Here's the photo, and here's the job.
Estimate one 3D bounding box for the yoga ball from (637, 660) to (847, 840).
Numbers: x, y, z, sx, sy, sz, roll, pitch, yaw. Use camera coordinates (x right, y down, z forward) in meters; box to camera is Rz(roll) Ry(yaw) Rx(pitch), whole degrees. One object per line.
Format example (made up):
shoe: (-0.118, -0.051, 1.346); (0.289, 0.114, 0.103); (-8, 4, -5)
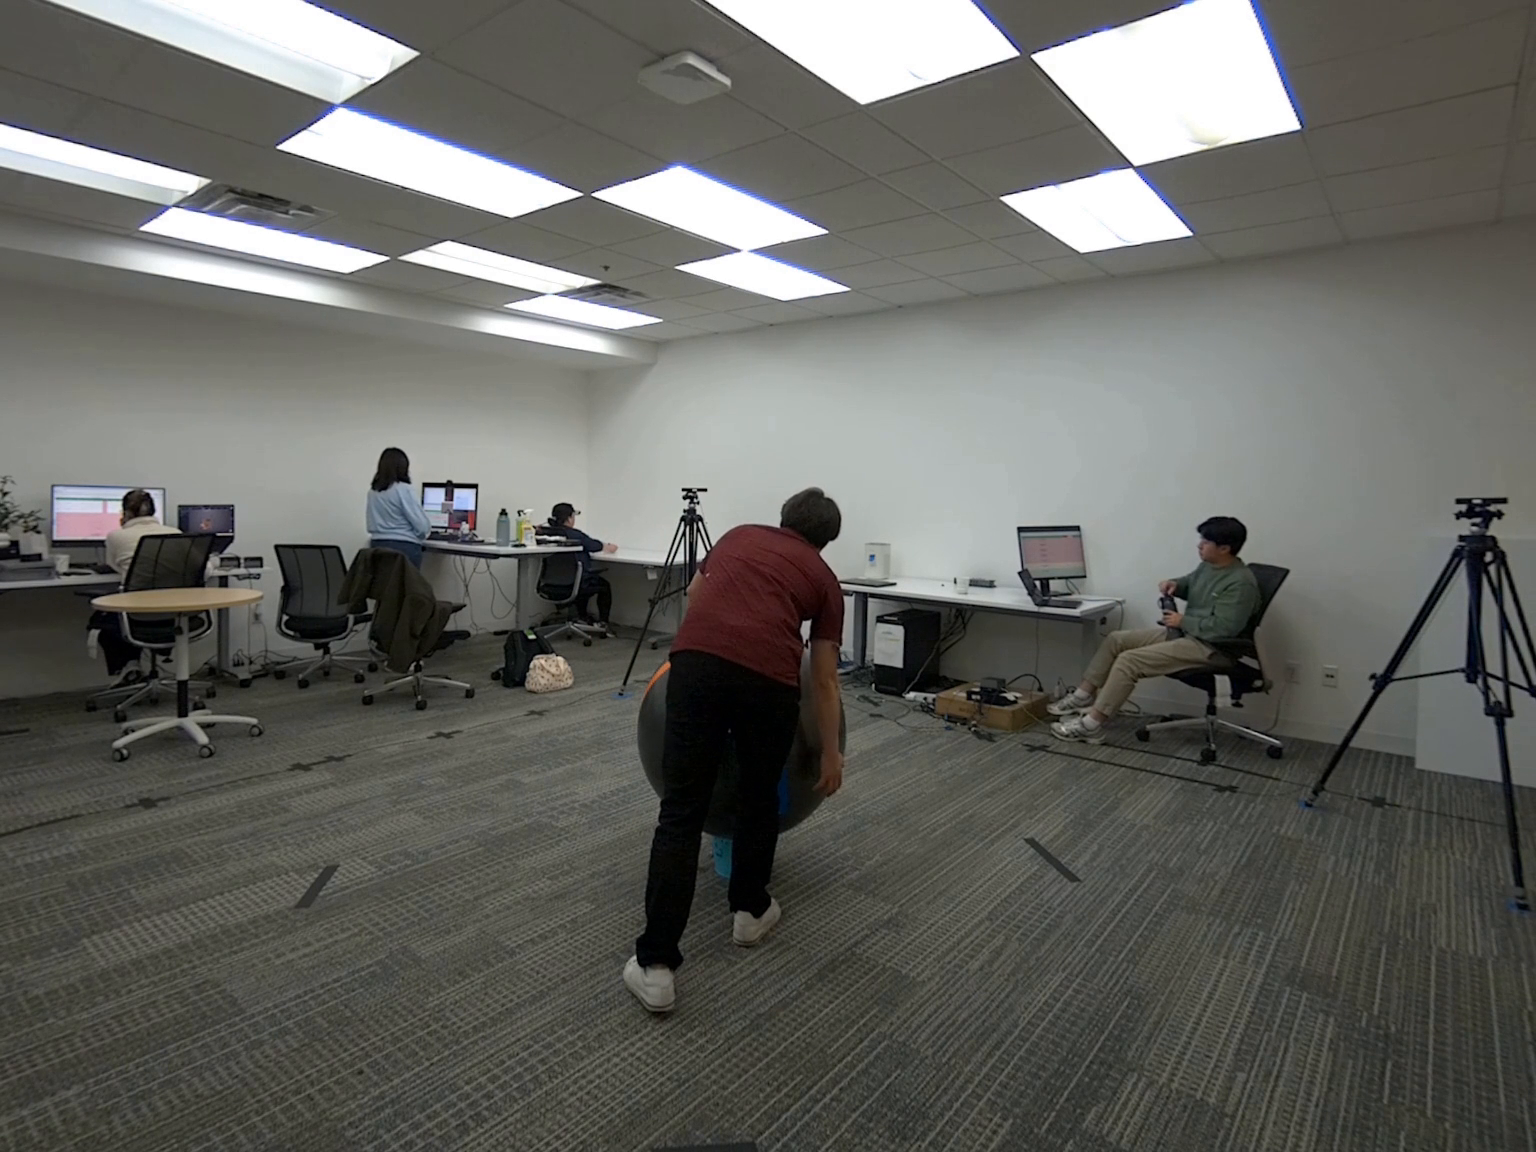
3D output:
yoga ball: (-0.109, 0.560, 3.101); (0.757, 0.756, 0.762); (1, 4, -2)
